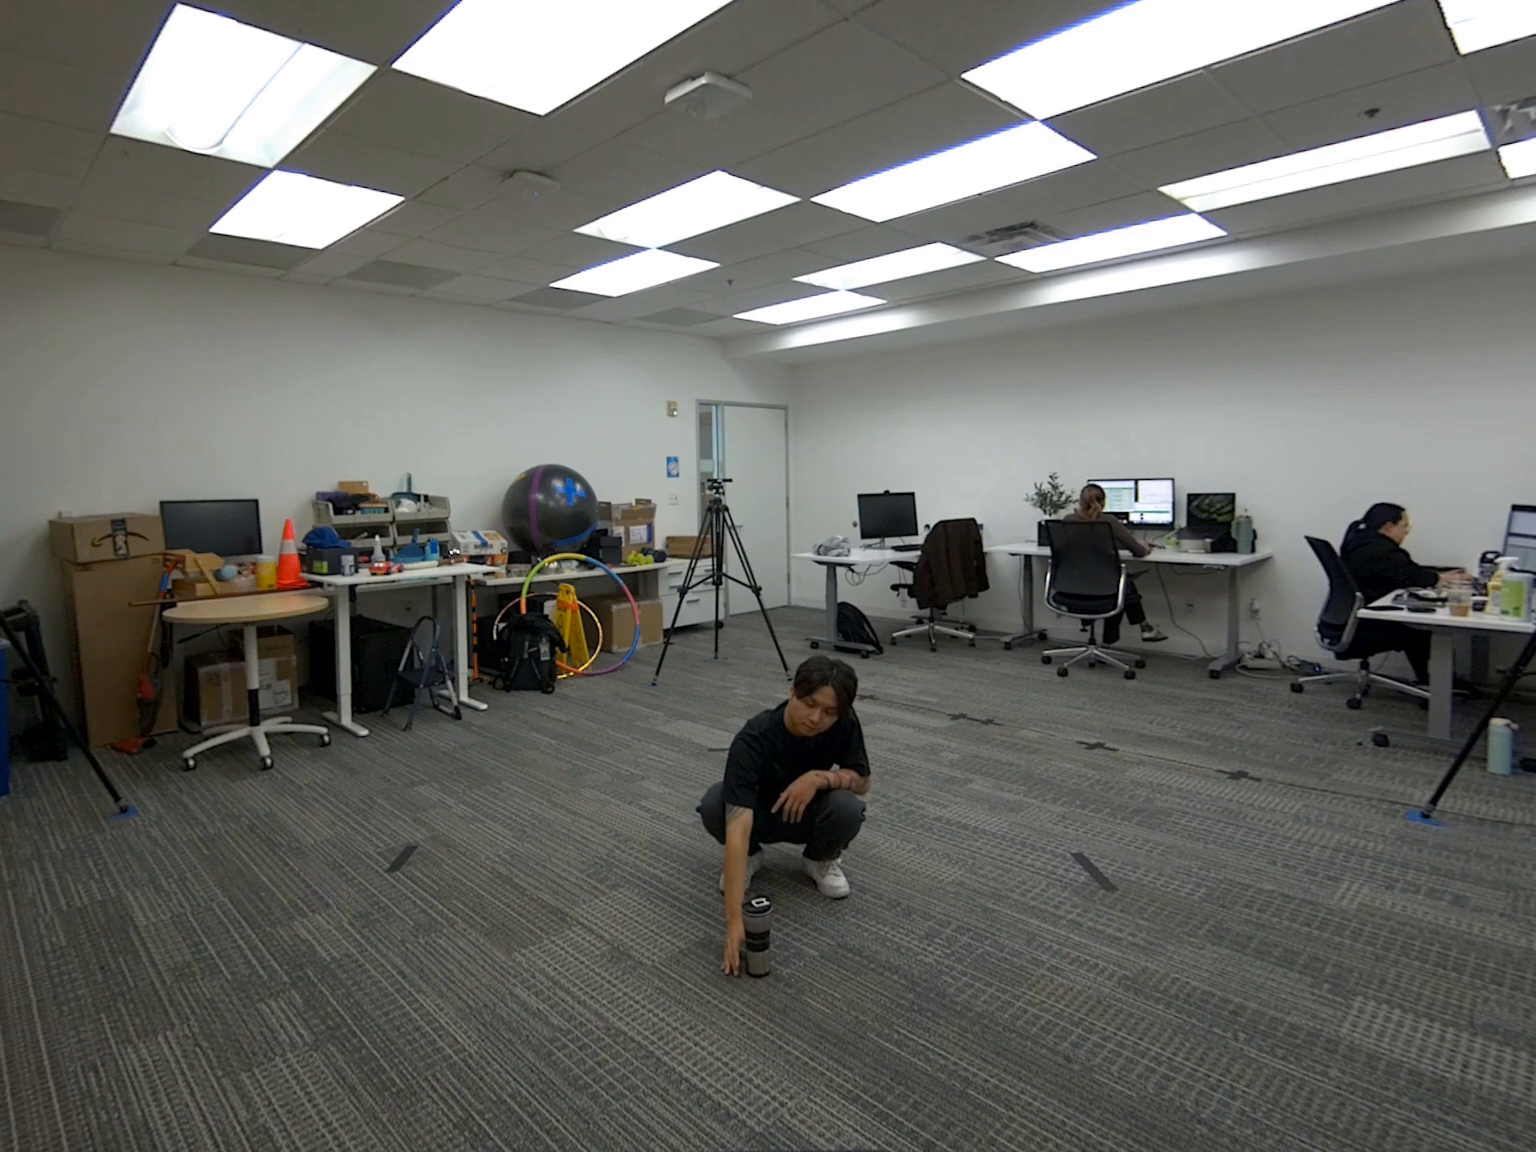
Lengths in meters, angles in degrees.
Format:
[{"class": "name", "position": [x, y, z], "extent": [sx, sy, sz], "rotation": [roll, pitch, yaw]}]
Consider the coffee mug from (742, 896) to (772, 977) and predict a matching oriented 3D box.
[{"class": "coffee mug", "position": [-0.007, 1.031, 2.431], "extent": [0.090, 0.203, 0.119], "rotation": [-5, 2, 42]}]
